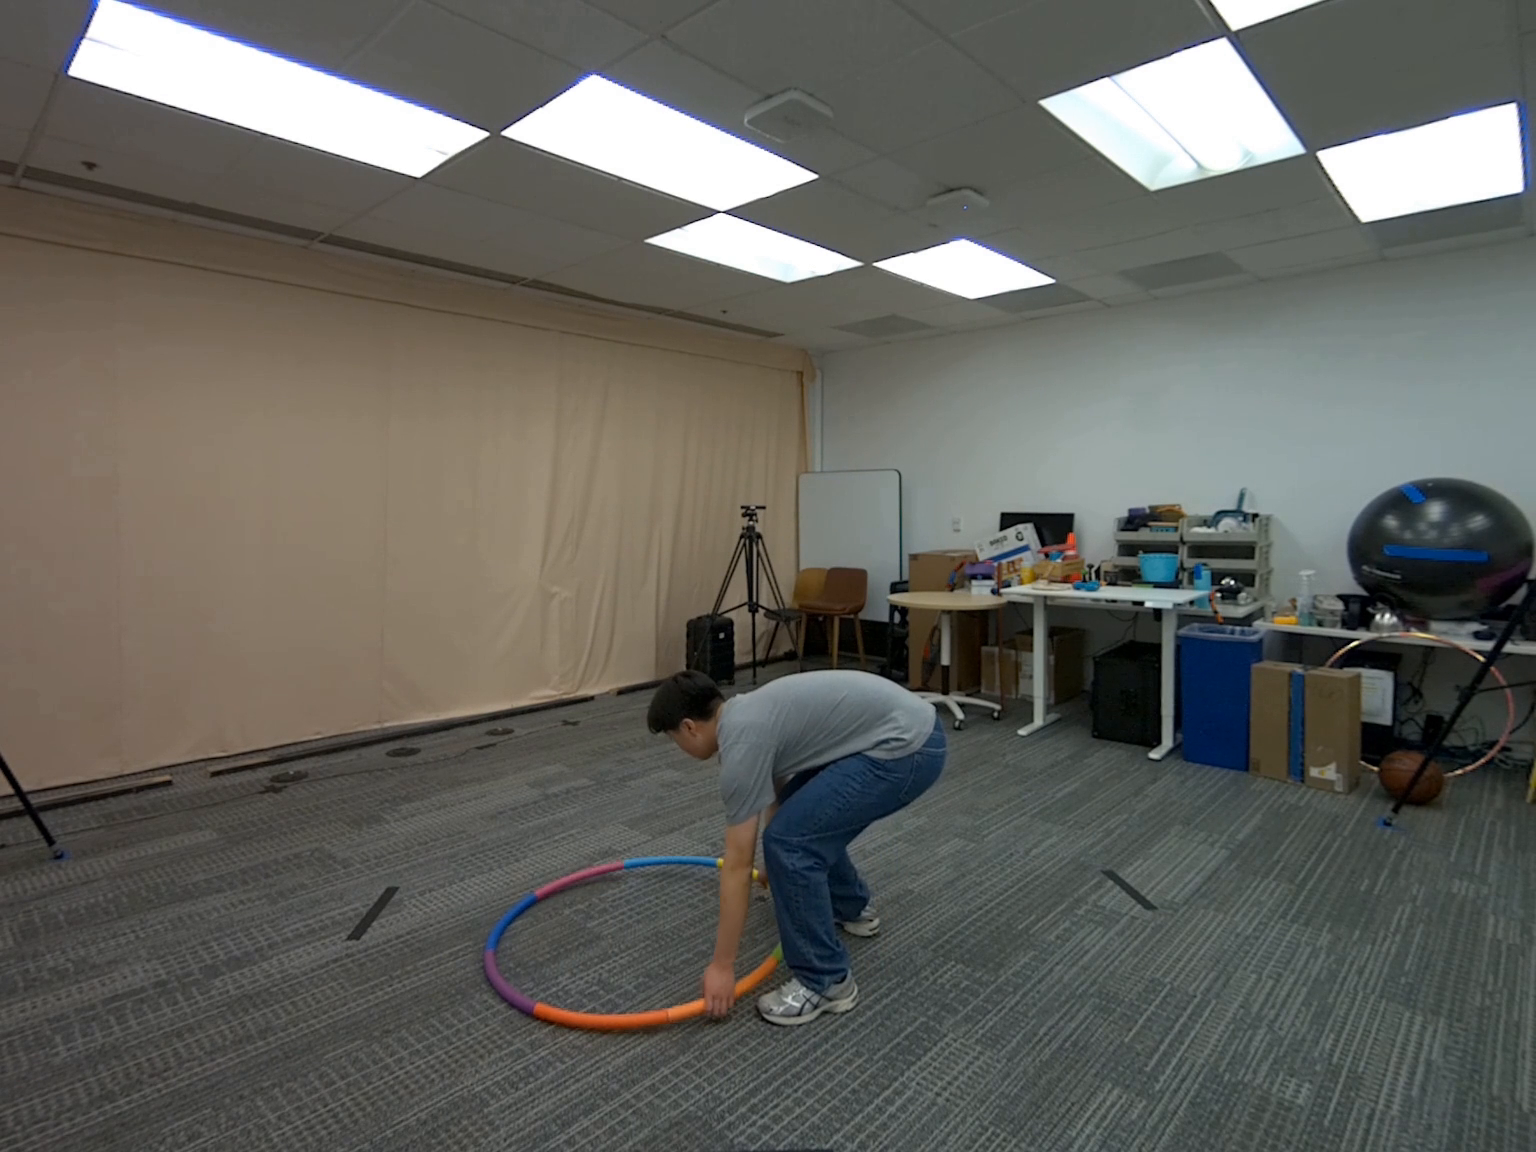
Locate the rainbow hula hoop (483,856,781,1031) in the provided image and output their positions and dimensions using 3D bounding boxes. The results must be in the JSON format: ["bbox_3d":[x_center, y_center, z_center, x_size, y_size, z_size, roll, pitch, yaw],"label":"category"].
[{"bbox_3d":[-0.402,1.112,2.703,0.978,0.035,0.983,-4,6,-1],"label":"rainbow hula hoop"}]
